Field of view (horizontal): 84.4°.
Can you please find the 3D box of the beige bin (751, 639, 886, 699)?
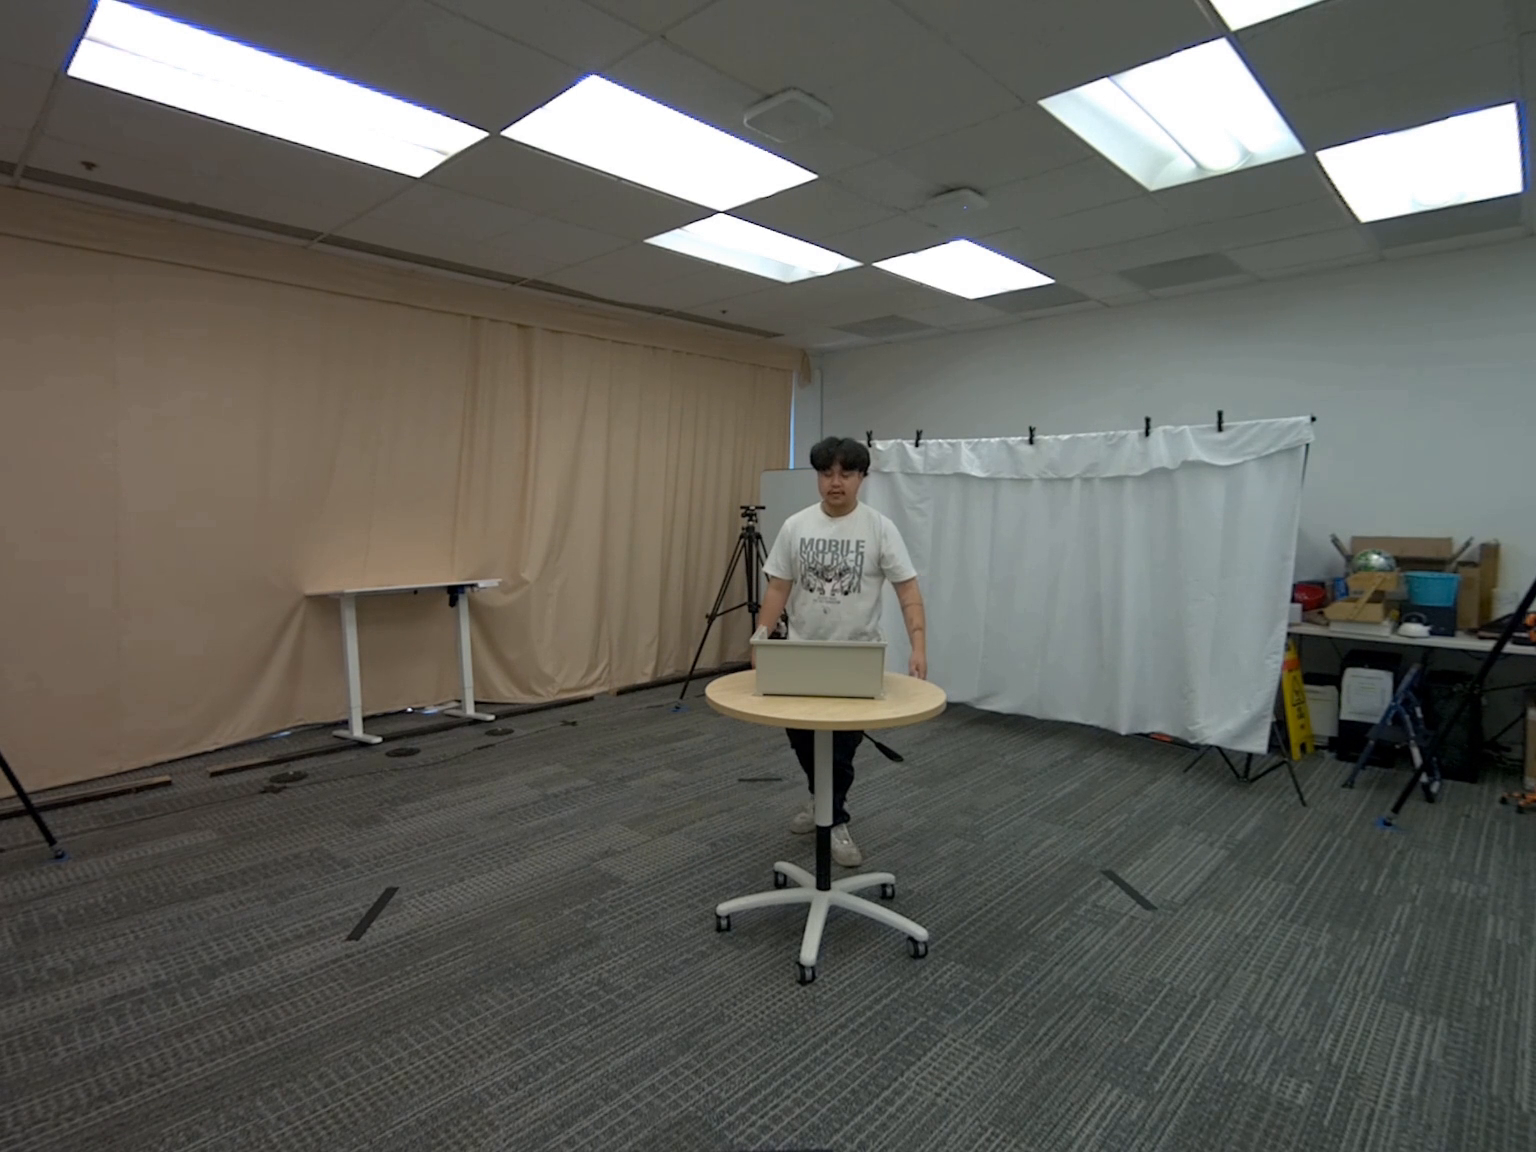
[{"bbox_3d":[0.172,0.272,2.787,0.426,0.188,0.376,0,6,6],"label":"beige bin"}]
